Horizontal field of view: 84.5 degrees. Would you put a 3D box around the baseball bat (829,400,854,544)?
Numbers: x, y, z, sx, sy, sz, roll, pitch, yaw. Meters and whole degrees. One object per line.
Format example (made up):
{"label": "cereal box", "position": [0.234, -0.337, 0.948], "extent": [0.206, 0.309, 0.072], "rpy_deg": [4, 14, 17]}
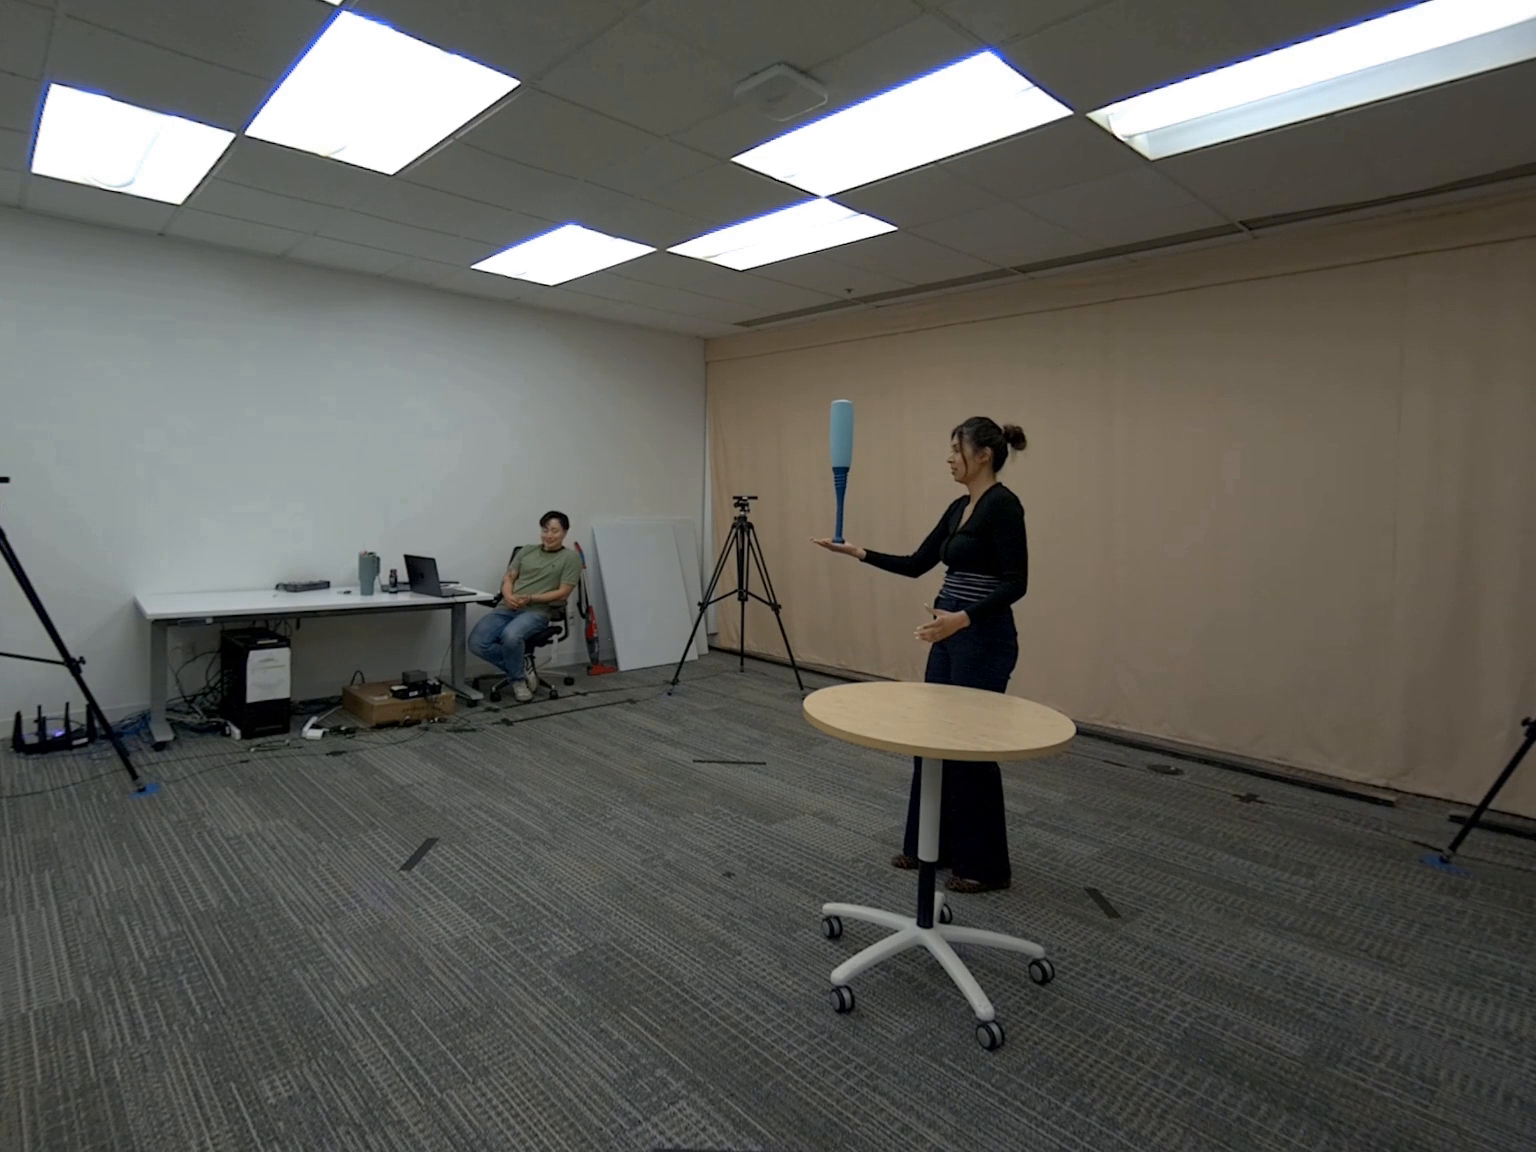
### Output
{"label": "baseball bat", "position": [0.280, -0.387, 3.171], "extent": [0.089, 0.542, 0.089], "rpy_deg": [1, 2, -1]}
